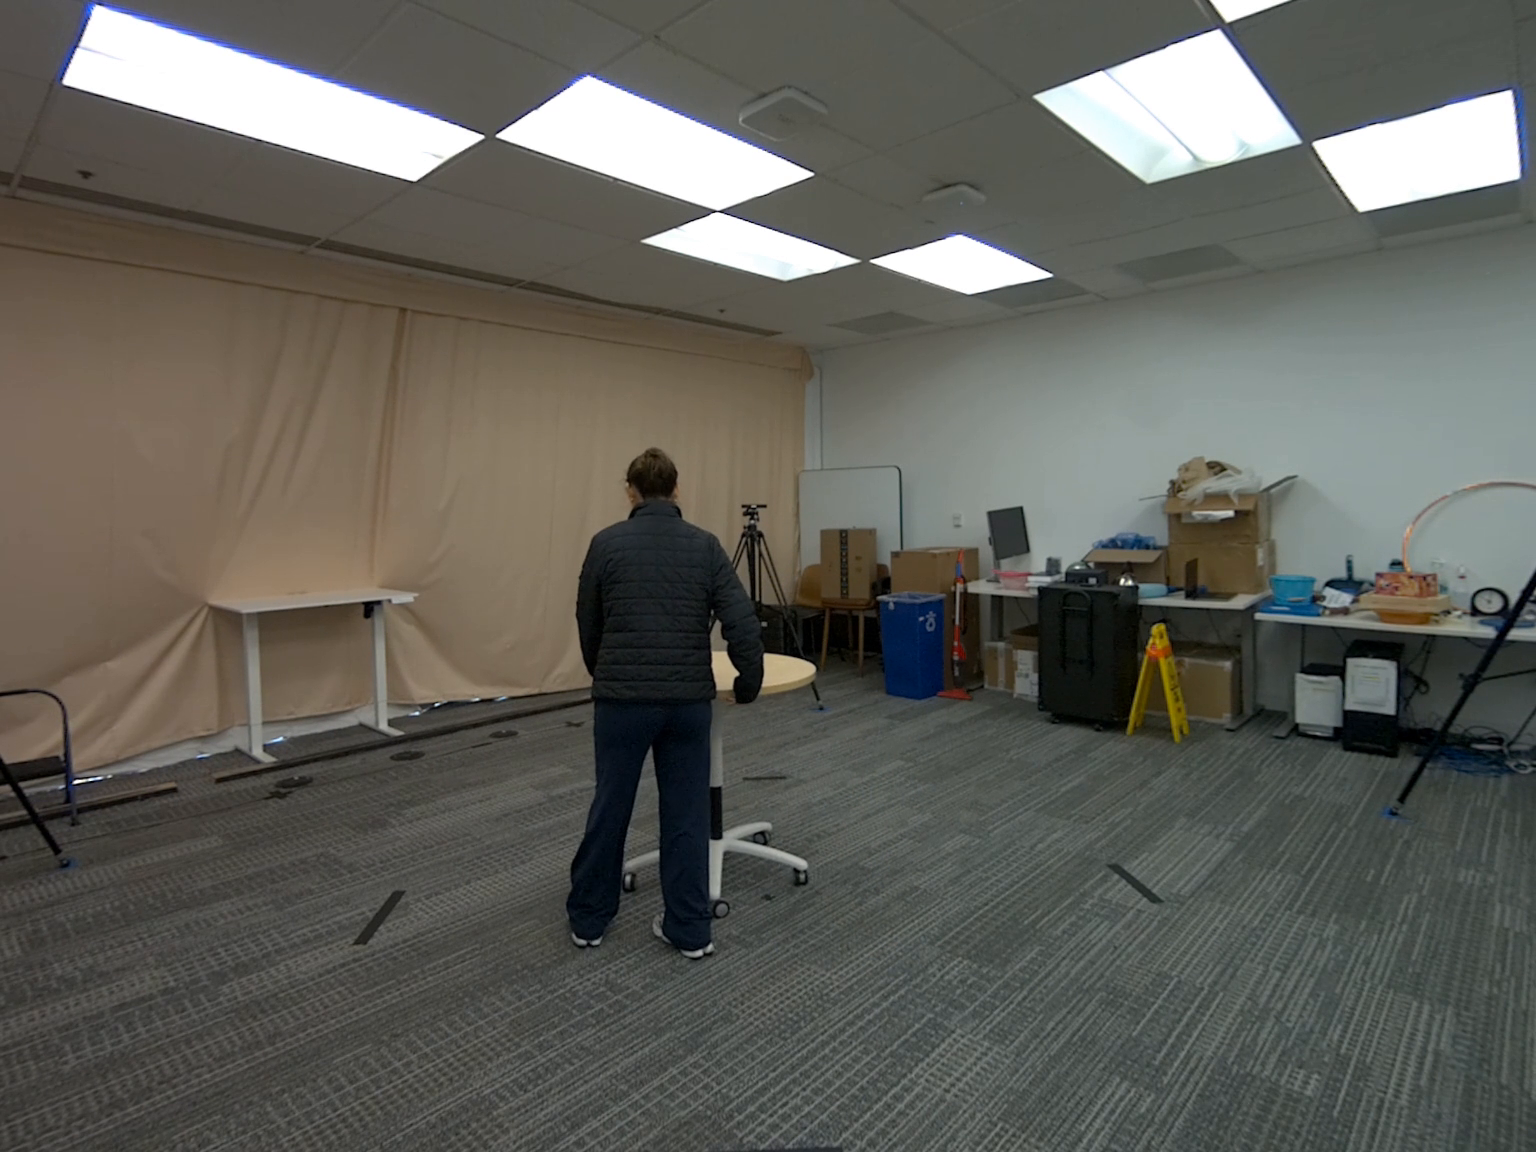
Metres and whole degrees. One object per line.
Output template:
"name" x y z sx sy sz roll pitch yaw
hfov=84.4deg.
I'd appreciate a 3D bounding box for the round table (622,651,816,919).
"round table" -0.167 0.735 3.173 0.784 0.785 0.788 -1 4 -2
